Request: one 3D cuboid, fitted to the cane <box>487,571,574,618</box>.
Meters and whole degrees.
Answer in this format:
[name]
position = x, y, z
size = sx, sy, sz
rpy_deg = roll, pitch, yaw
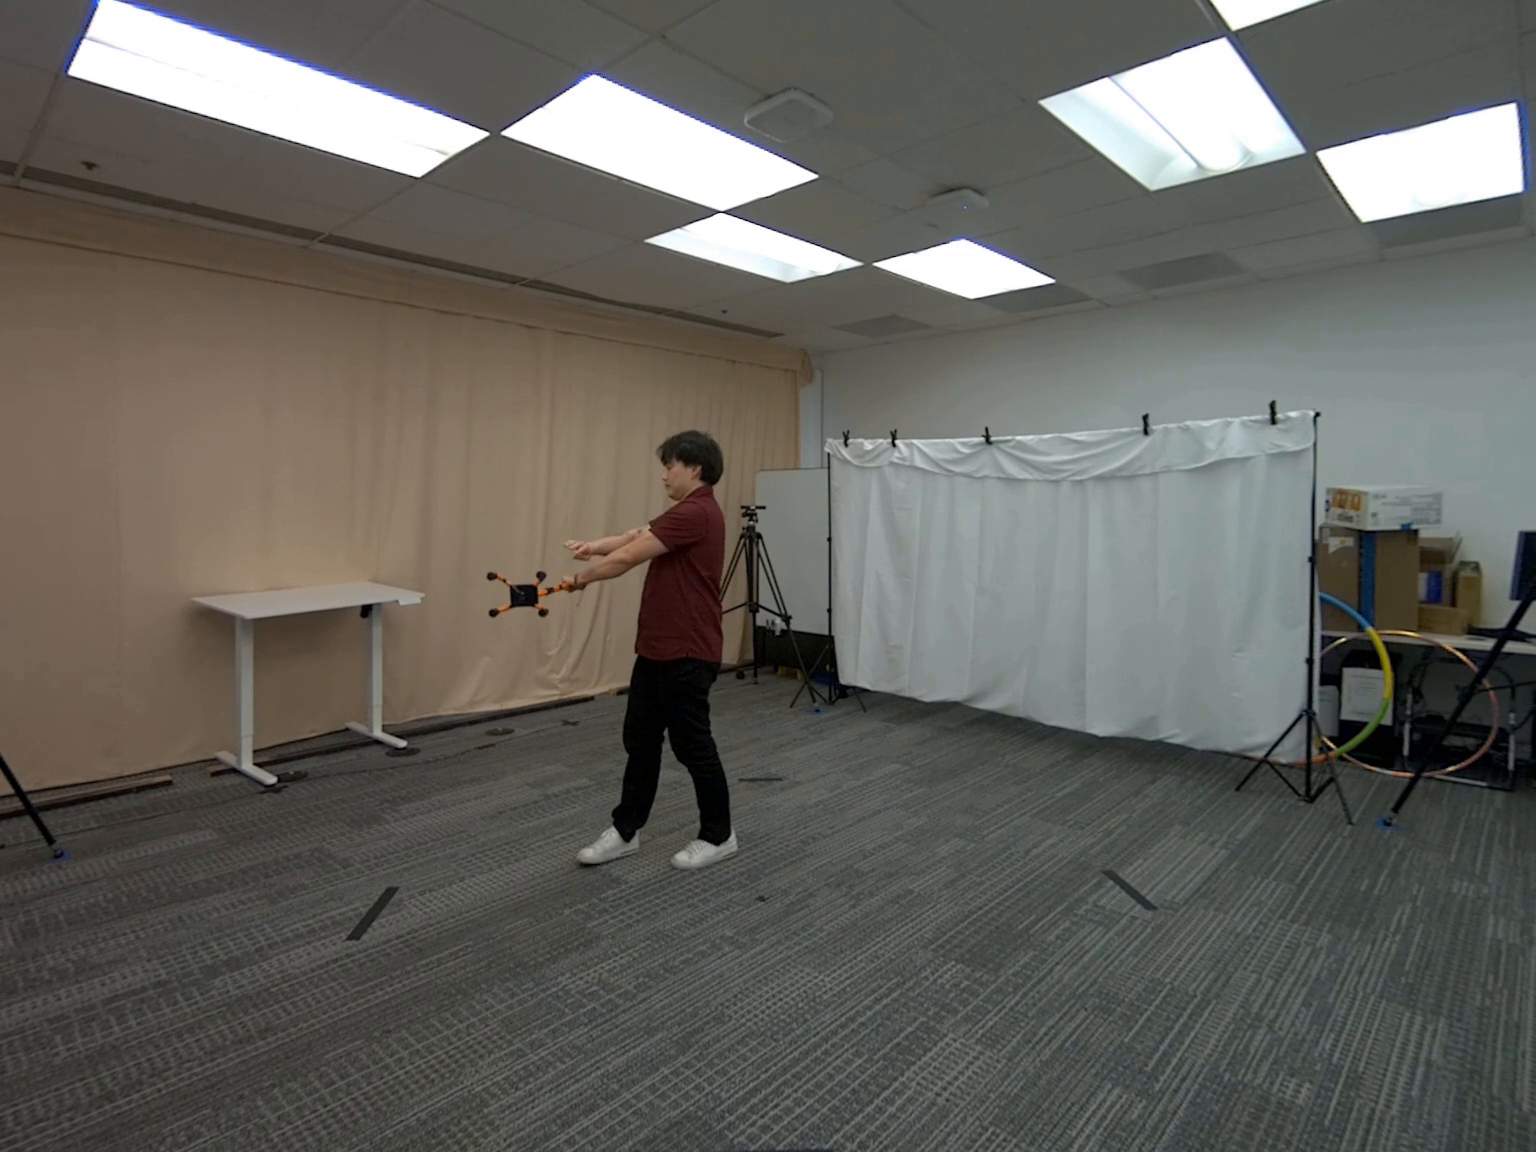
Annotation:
[cane]
position = -0.762, 0.019, 3.216
size = 0.208, 0.151, 0.902
rpy_deg = -1, 6, 7
